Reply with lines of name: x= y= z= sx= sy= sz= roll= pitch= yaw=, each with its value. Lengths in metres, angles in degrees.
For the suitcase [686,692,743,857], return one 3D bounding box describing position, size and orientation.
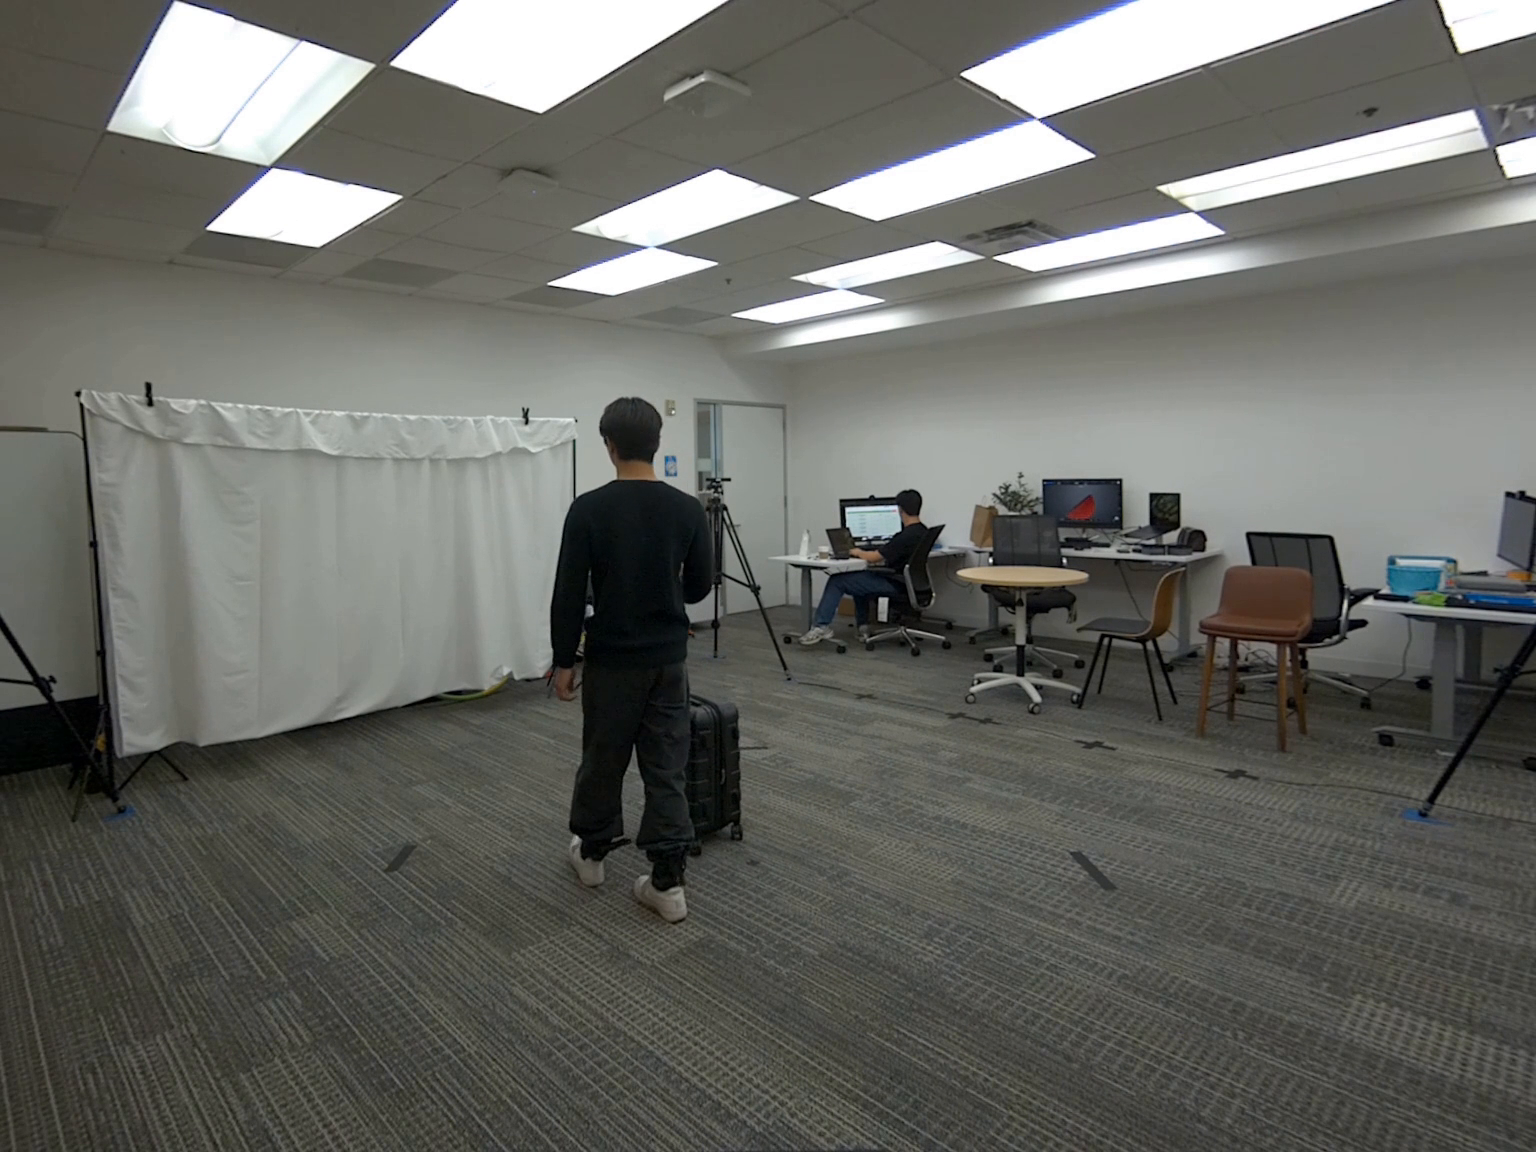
suitcase: x=-0.290 y=0.543 z=3.371 sx=0.250 sy=0.979 sz=0.395 roll=1 pitch=0 yaw=-38
